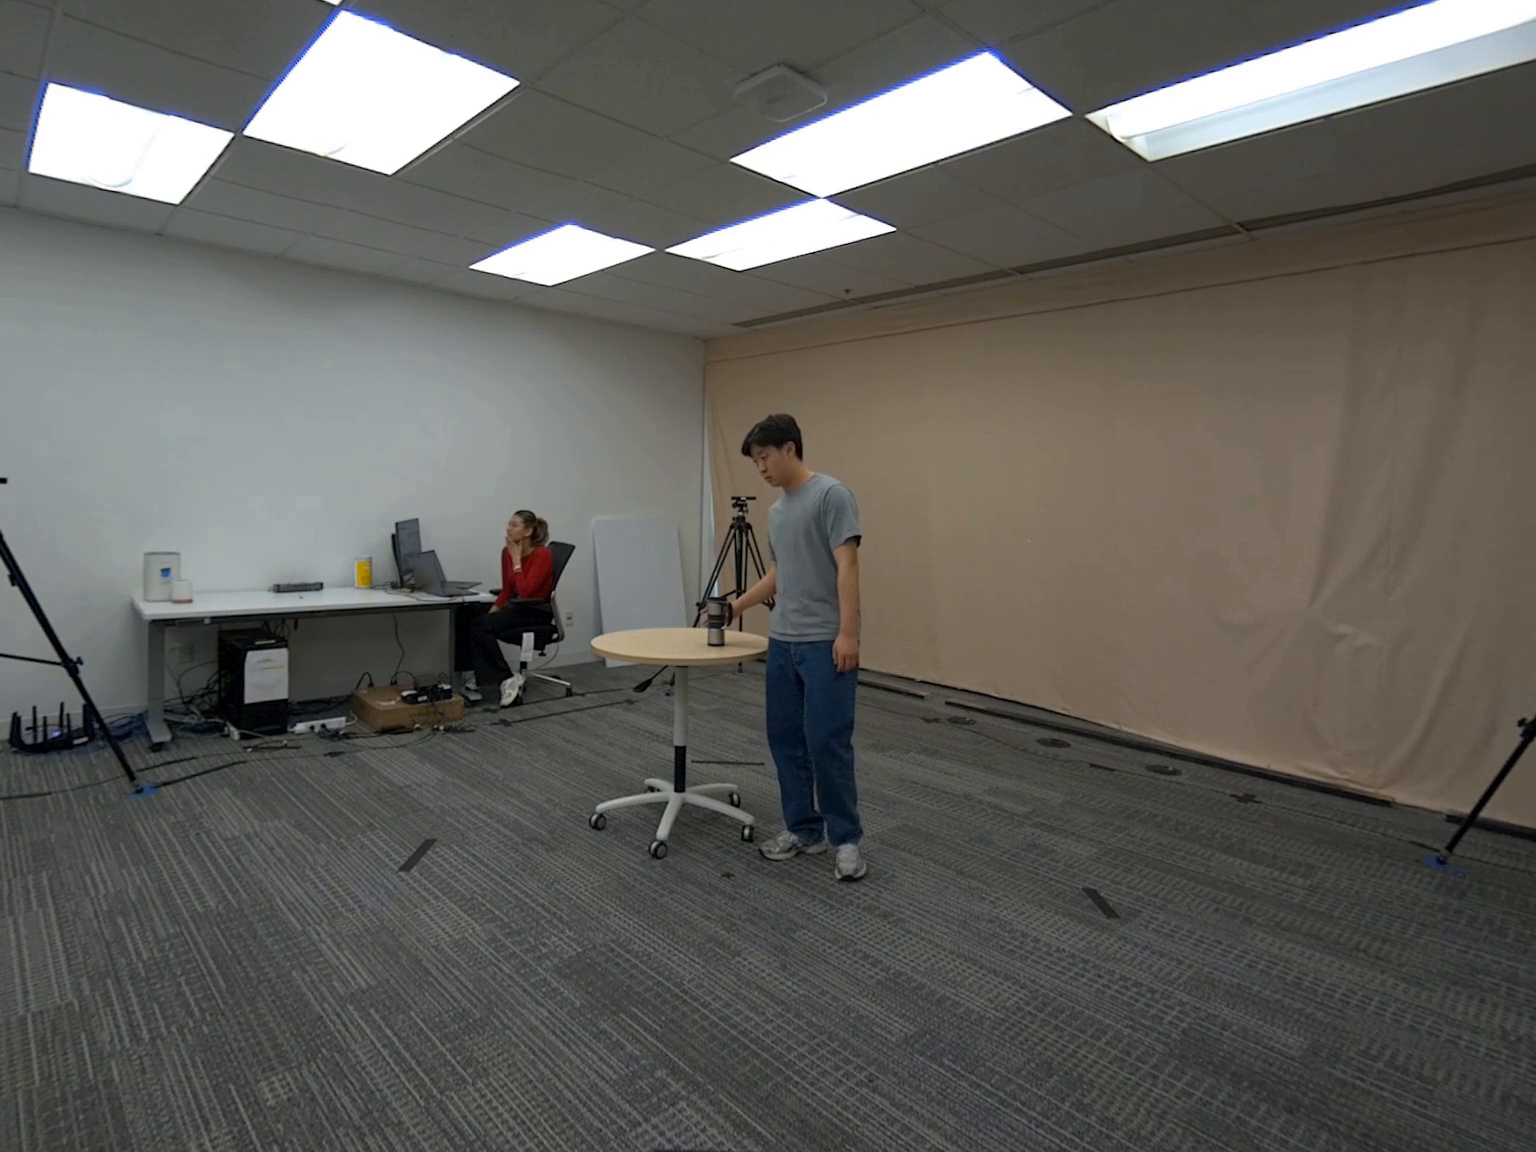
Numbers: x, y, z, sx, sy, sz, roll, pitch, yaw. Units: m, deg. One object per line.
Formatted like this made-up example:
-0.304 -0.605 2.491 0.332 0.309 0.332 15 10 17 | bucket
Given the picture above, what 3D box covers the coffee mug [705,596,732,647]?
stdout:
-0.210 0.190 3.447 0.086 0.203 0.124 2 1 -23 | coffee mug
